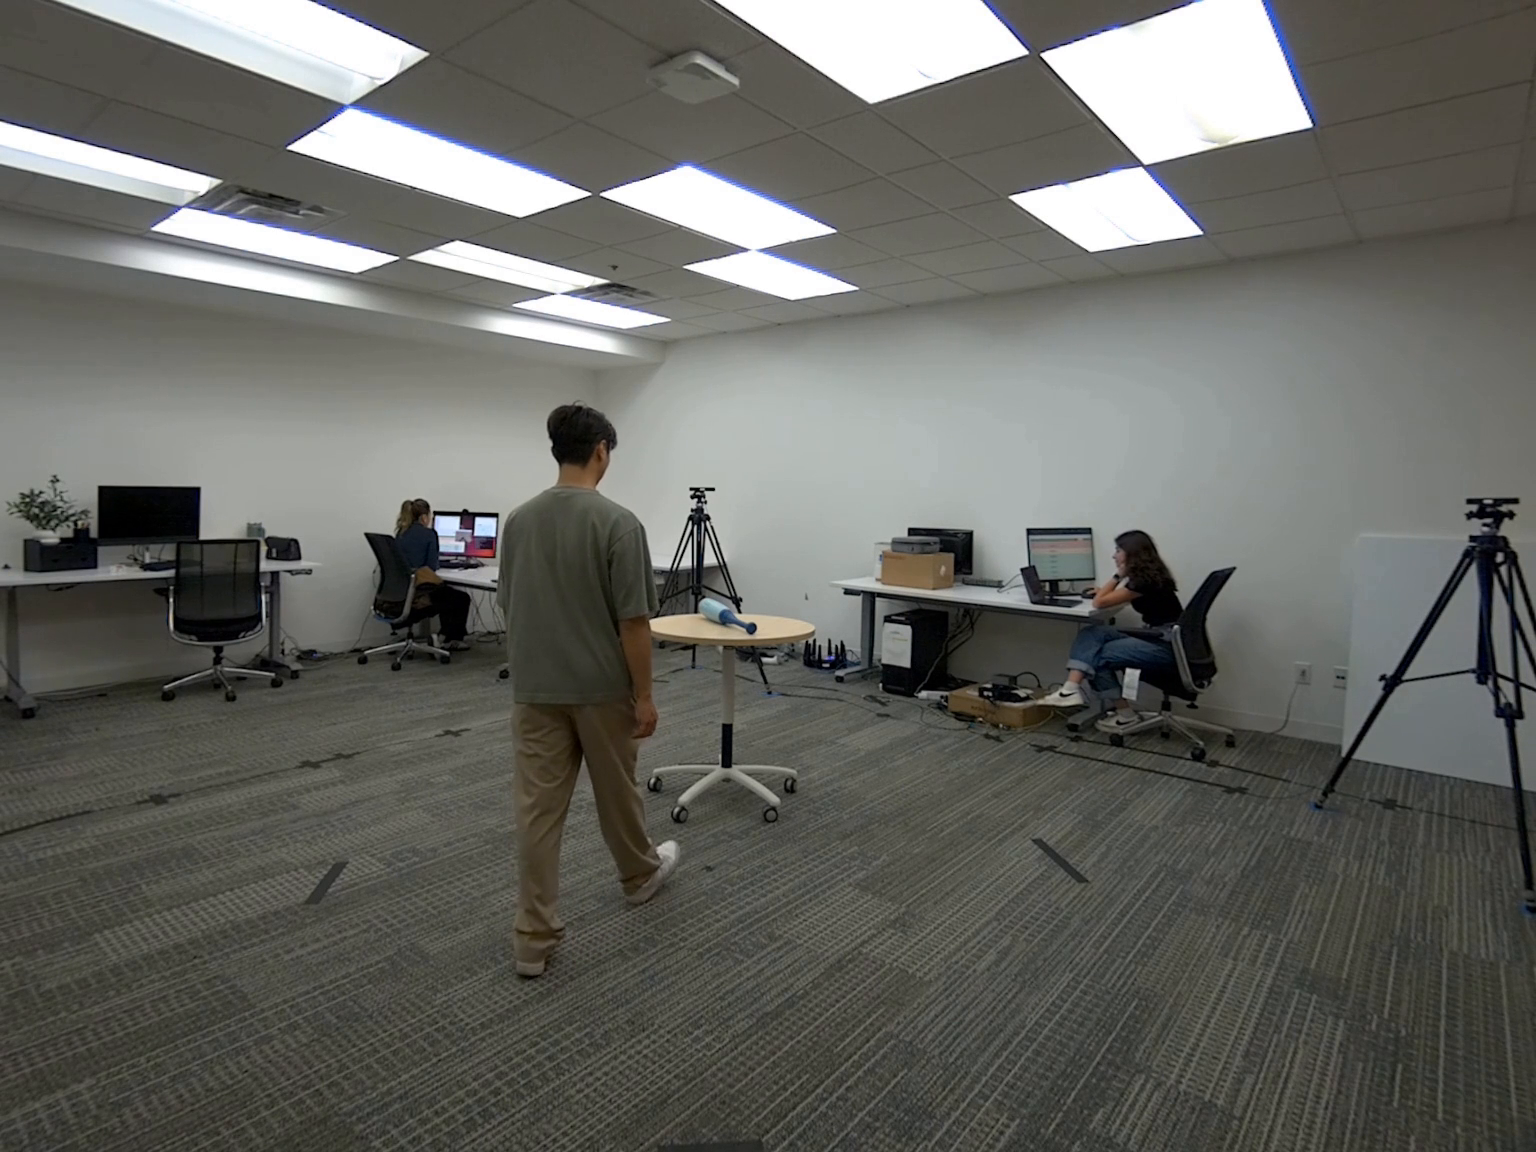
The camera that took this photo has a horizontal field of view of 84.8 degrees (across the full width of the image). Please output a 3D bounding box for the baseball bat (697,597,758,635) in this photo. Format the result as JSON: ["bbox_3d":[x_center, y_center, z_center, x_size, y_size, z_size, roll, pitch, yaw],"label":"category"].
[{"bbox_3d":[-0.192,0.181,3.795,0.087,0.088,0.558,-1,8,-25],"label":"baseball bat"}]
